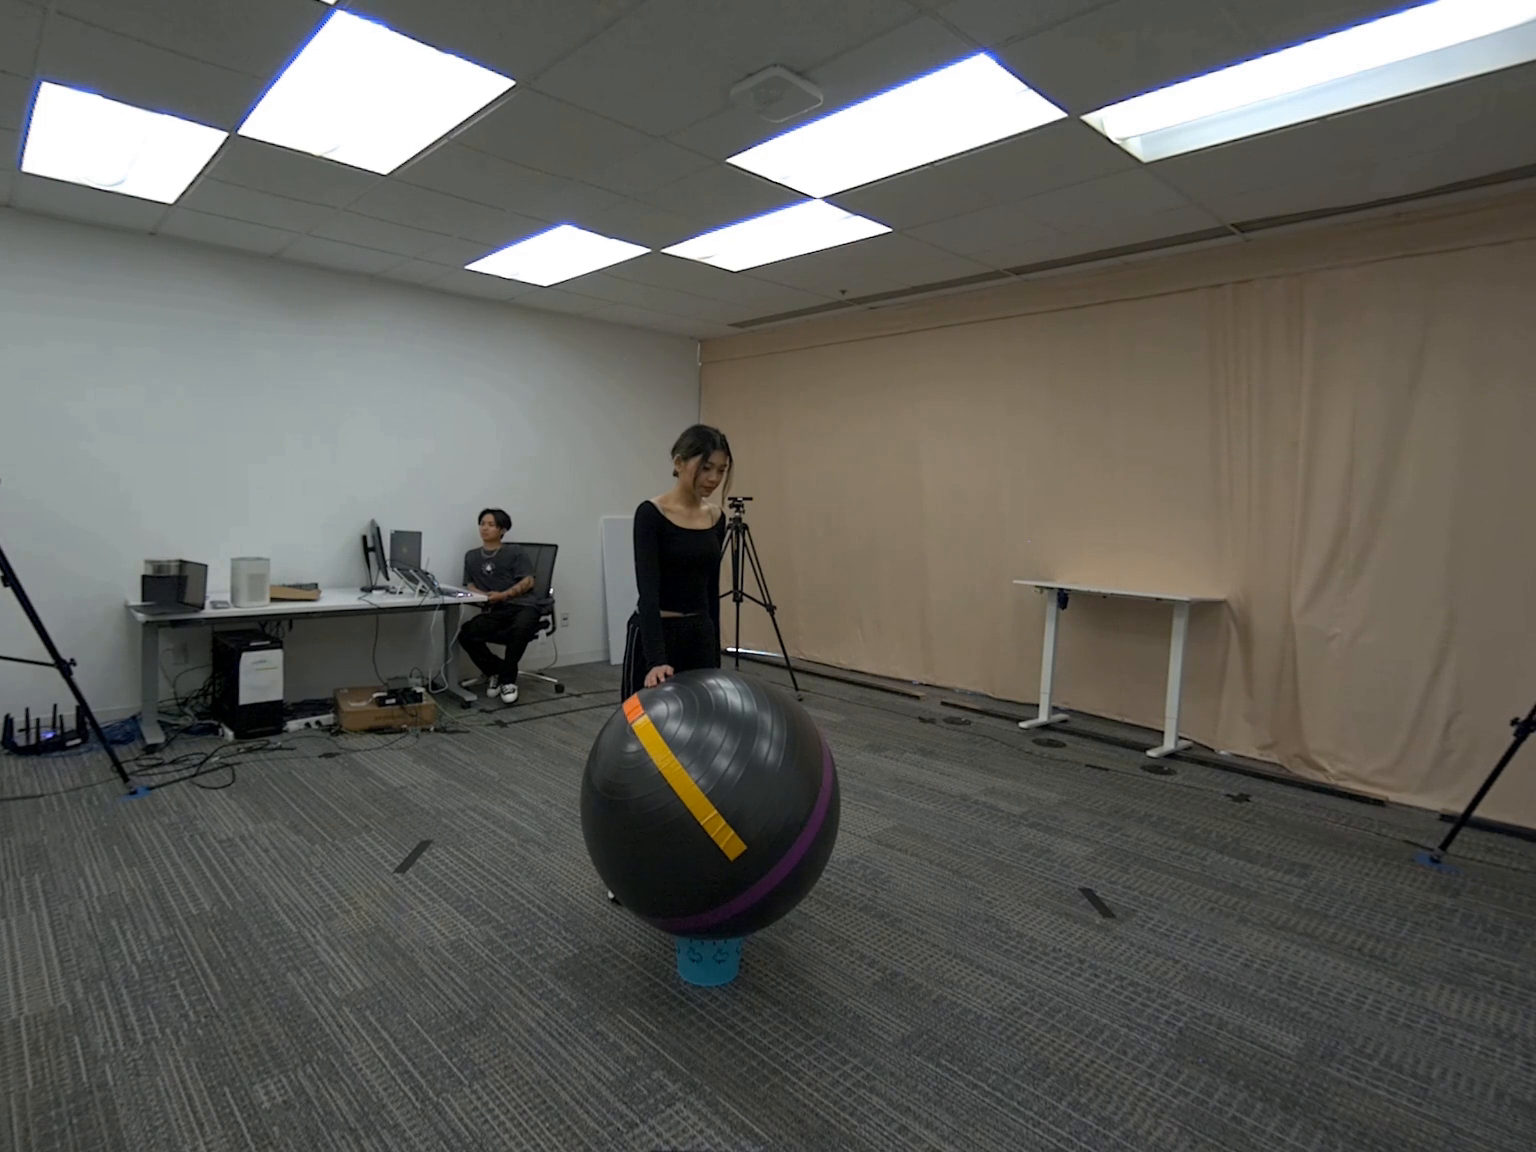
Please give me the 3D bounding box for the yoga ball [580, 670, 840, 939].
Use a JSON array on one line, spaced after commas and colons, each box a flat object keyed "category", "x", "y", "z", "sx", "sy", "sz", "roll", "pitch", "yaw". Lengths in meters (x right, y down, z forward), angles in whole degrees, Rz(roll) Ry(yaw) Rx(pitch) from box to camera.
[{"category": "yoga ball", "x": -0.165, "y": 0.657, "z": 2.457, "sx": 0.757, "sy": 0.756, "sz": 0.761, "roll": 1, "pitch": 4, "yaw": -1}]
